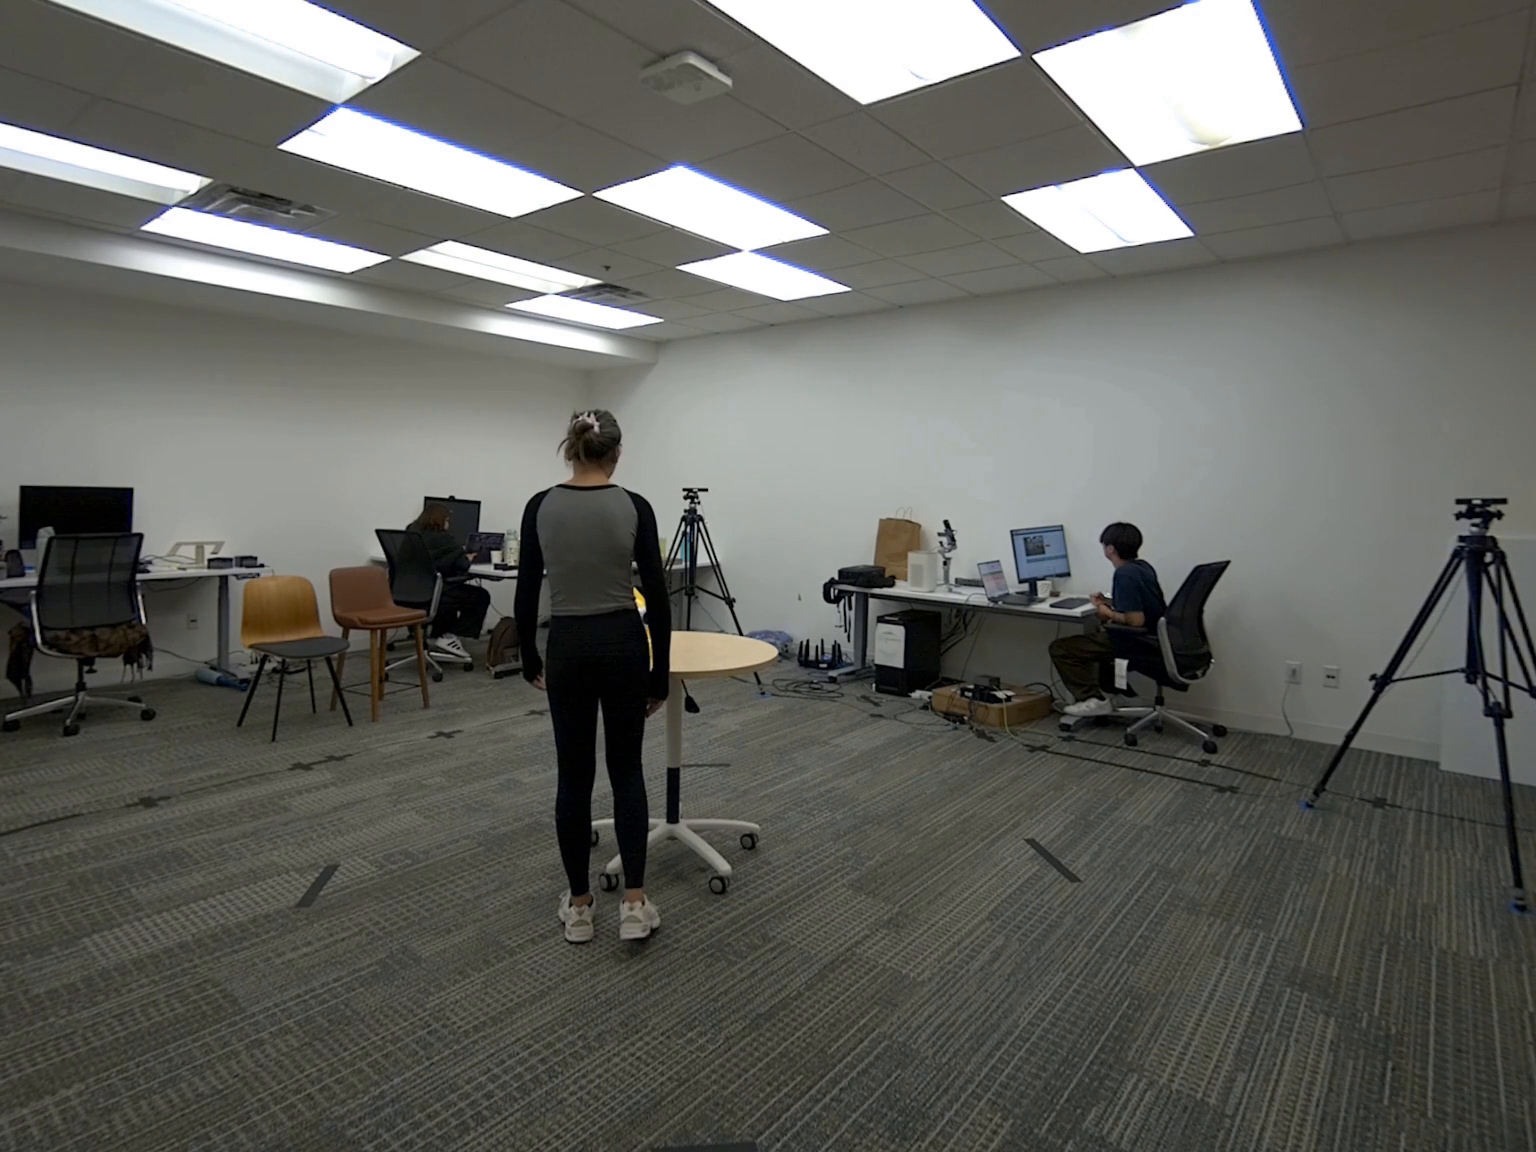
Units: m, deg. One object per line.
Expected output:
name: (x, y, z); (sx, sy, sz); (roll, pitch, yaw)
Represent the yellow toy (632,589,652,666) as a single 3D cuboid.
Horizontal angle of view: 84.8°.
yellow toy: (-0.496, 0.160, 3.059); (0.206, 0.230, 0.192); (2, 3, 7)
